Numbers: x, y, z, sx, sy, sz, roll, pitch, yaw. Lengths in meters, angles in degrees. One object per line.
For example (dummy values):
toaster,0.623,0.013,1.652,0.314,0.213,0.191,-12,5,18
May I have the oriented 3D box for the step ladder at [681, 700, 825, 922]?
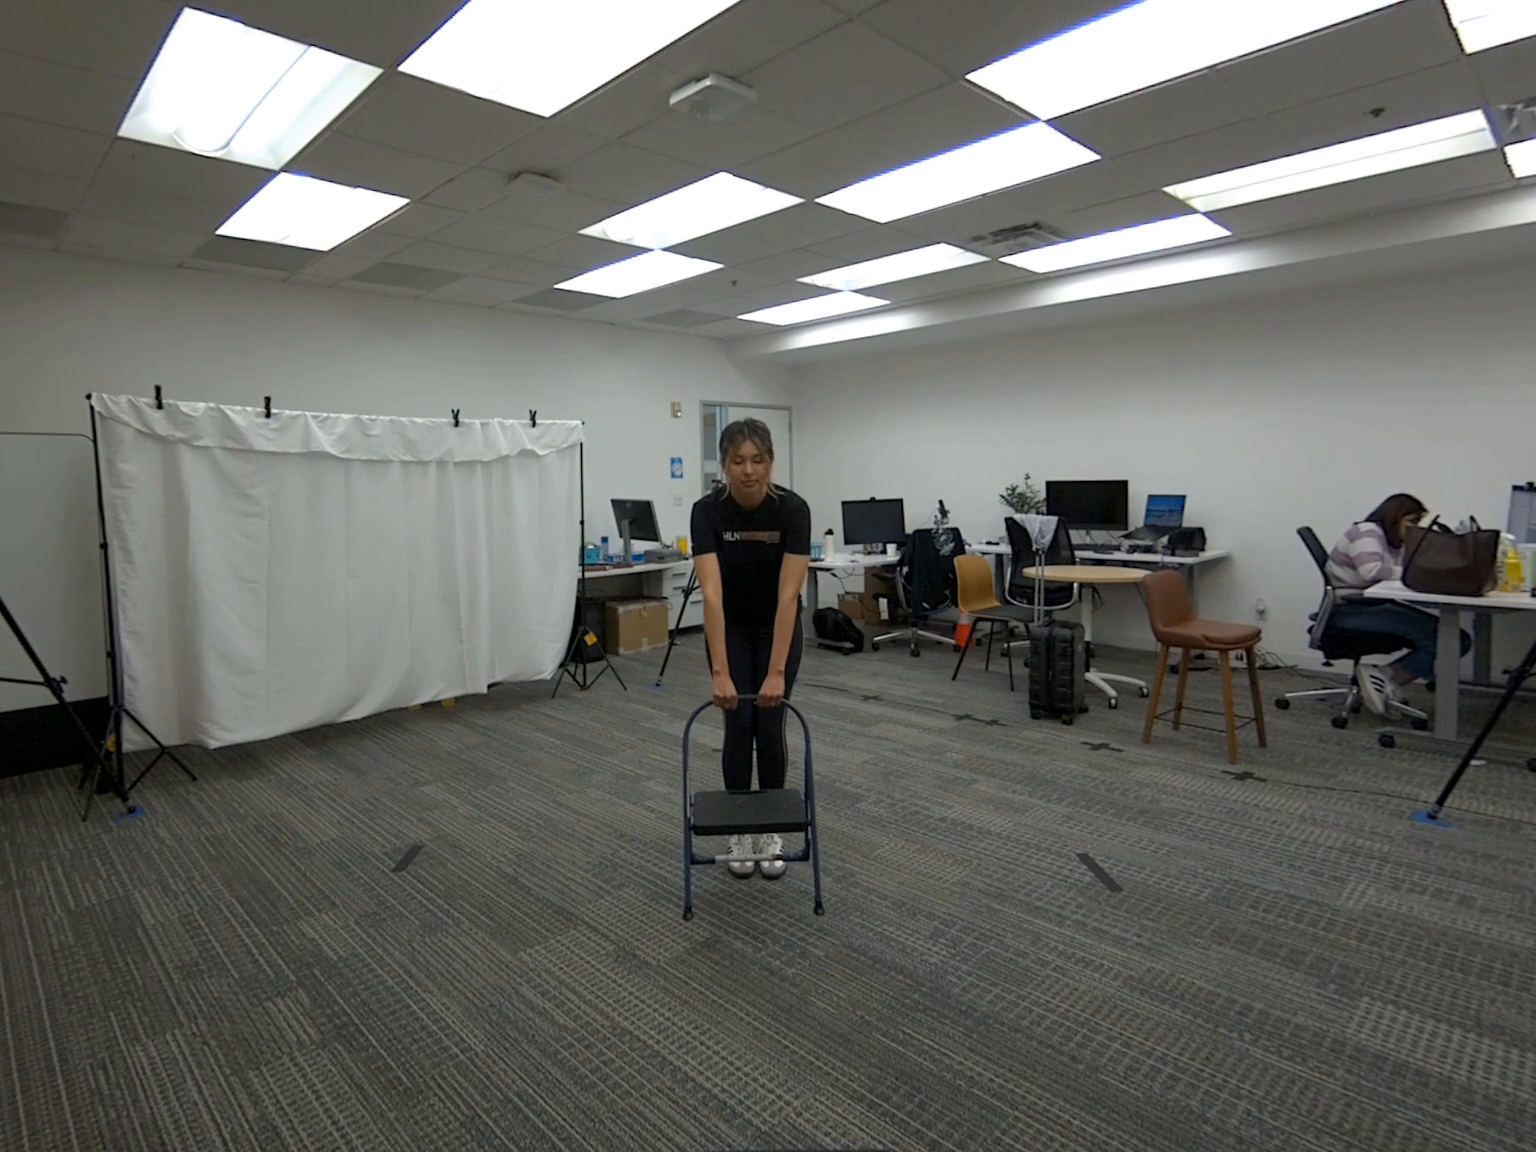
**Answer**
step ladder,-0.060,0.700,2.691,0.429,0.602,0.353,-1,8,-3
